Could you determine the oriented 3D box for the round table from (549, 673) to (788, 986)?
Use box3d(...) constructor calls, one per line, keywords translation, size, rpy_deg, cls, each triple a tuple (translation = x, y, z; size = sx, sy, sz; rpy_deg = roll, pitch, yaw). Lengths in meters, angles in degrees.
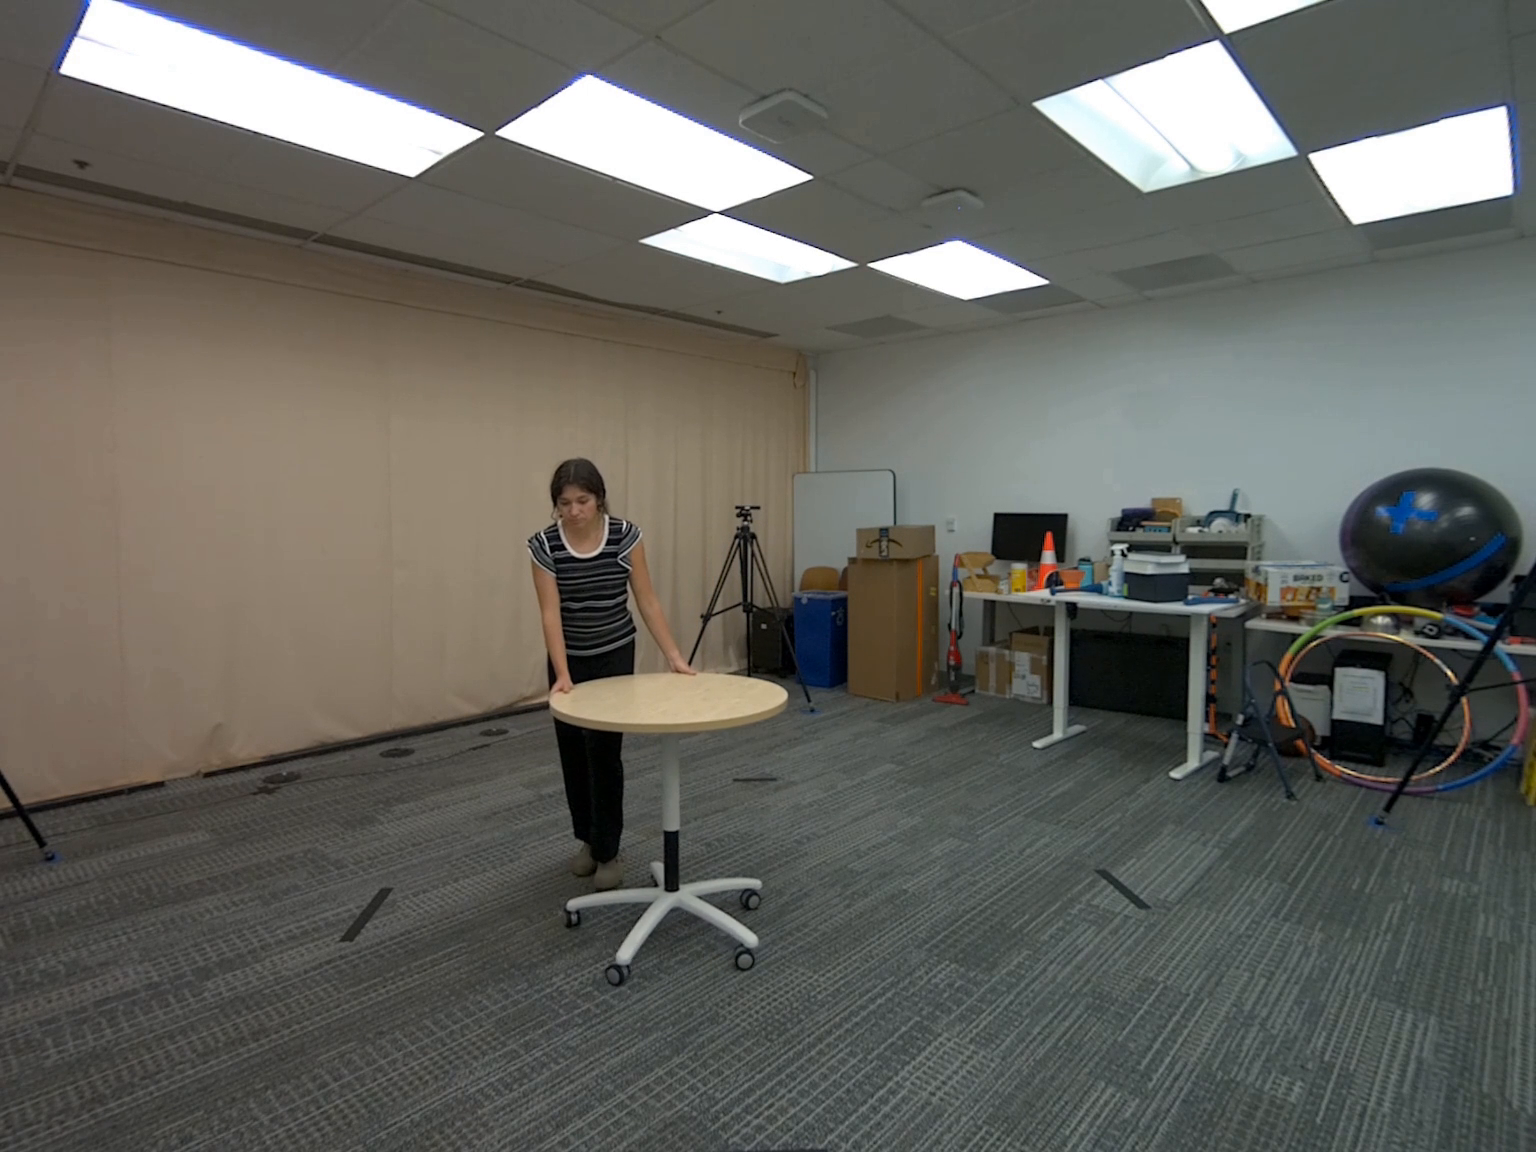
box3d(translation=(-0.308, 0.778, 2.741), size=(0.763, 0.792, 0.766), rpy_deg=(-1, 3, -2), cls="round table")
